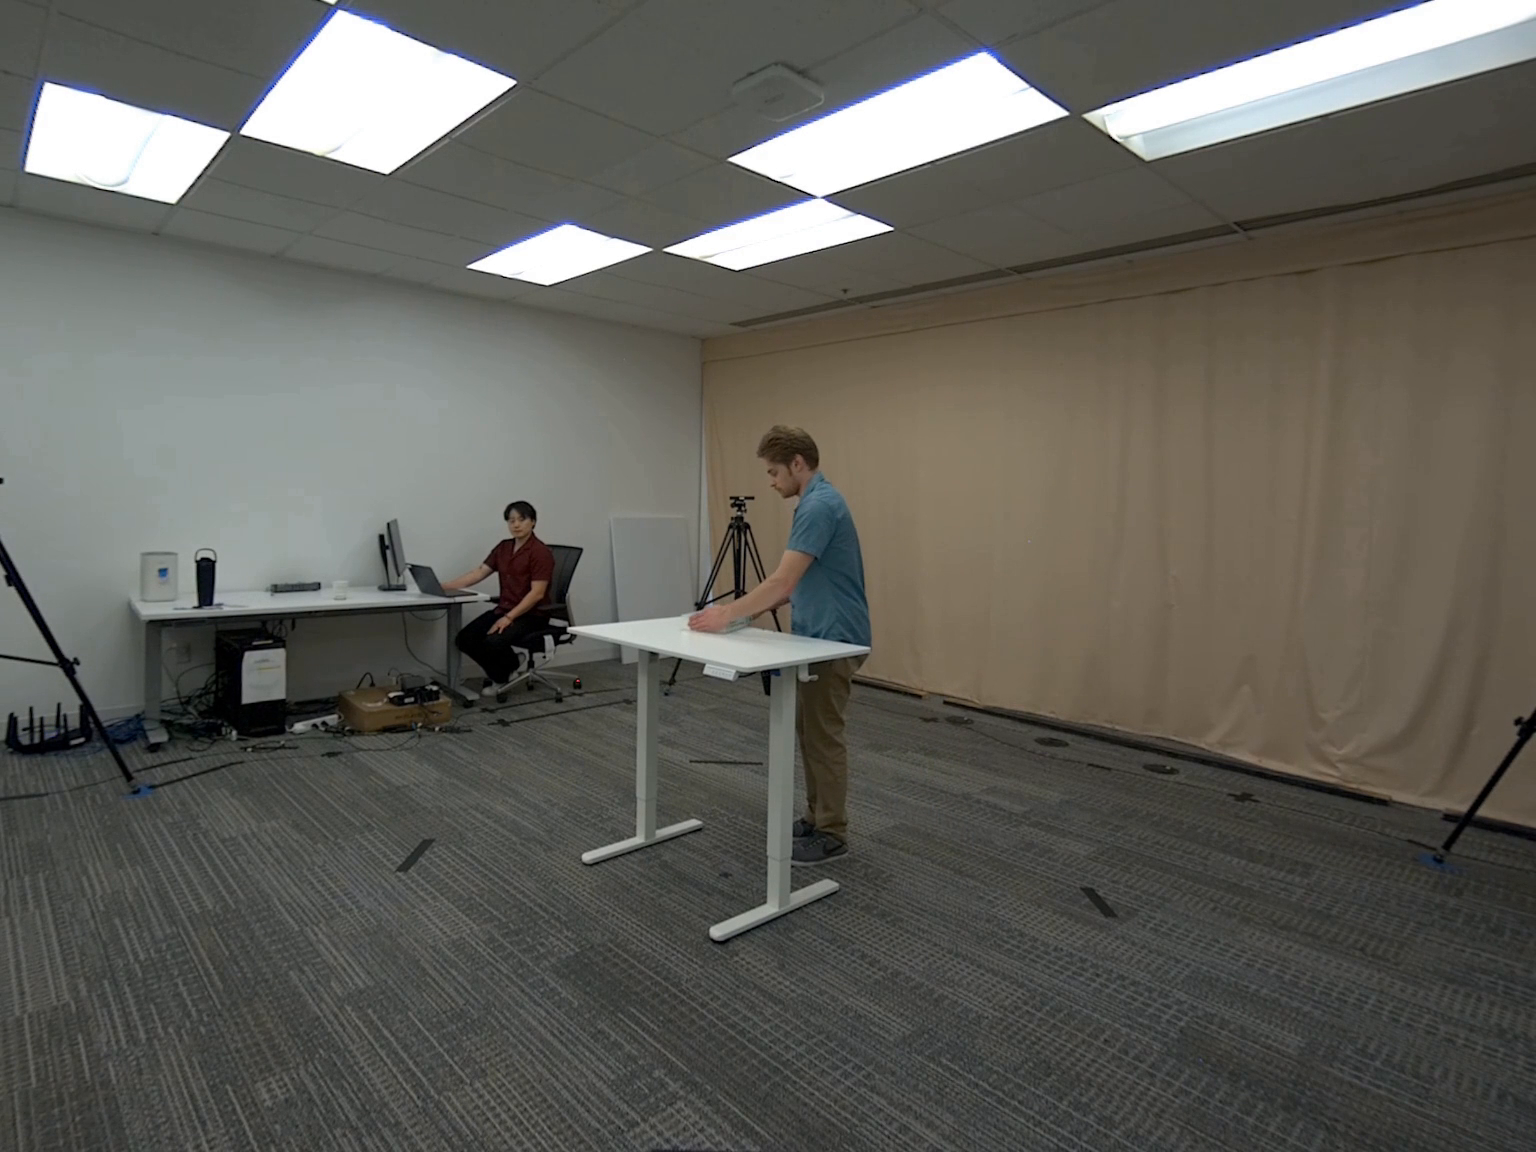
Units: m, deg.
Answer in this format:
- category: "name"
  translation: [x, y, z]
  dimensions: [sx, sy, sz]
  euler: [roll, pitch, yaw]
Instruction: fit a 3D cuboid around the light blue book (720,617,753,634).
- category: "light blue book"
  translation: [-0.189, 0.182, 3.307]
  dimensions: [0.194, 0.059, 0.257]
  euler: [4, 5, 19]
